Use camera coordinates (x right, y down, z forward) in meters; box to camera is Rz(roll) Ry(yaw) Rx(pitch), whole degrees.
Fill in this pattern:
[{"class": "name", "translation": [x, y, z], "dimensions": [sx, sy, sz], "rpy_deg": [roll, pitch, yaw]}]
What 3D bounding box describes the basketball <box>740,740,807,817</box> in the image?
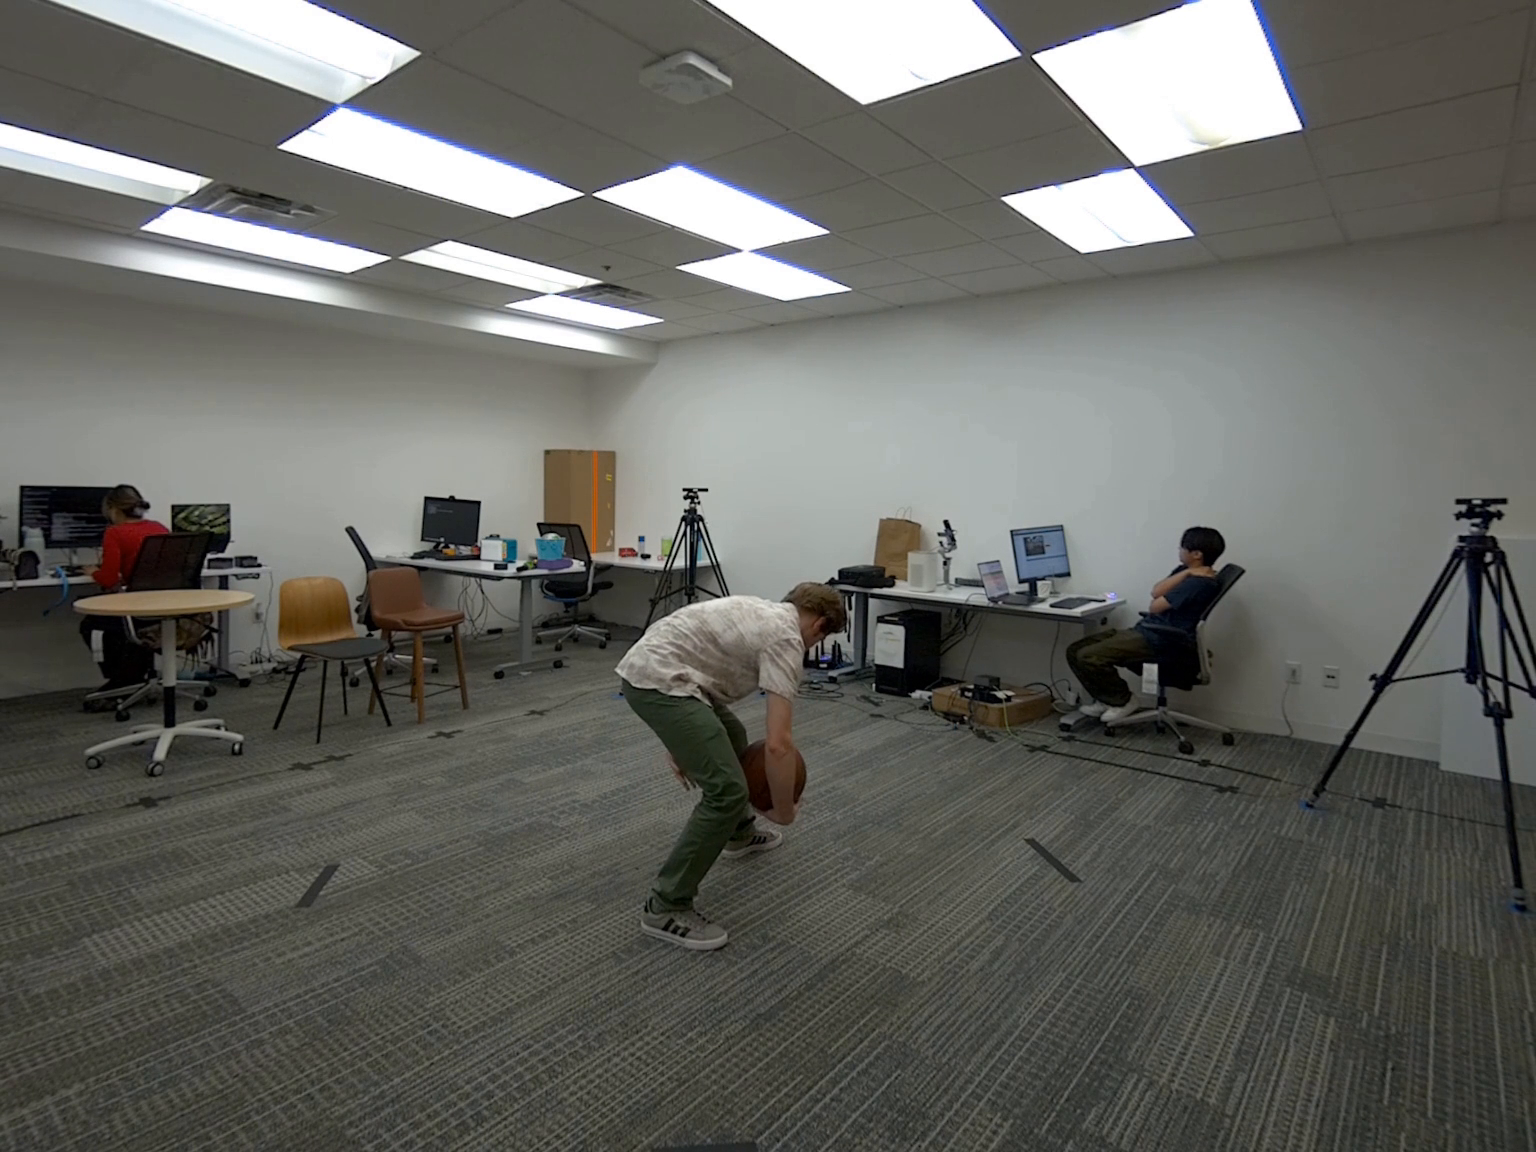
[{"class": "basketball", "translation": [0.011, 0.669, 2.878], "dimensions": [0.235, 0.235, 0.237], "rpy_deg": [1, 4, -2]}]
